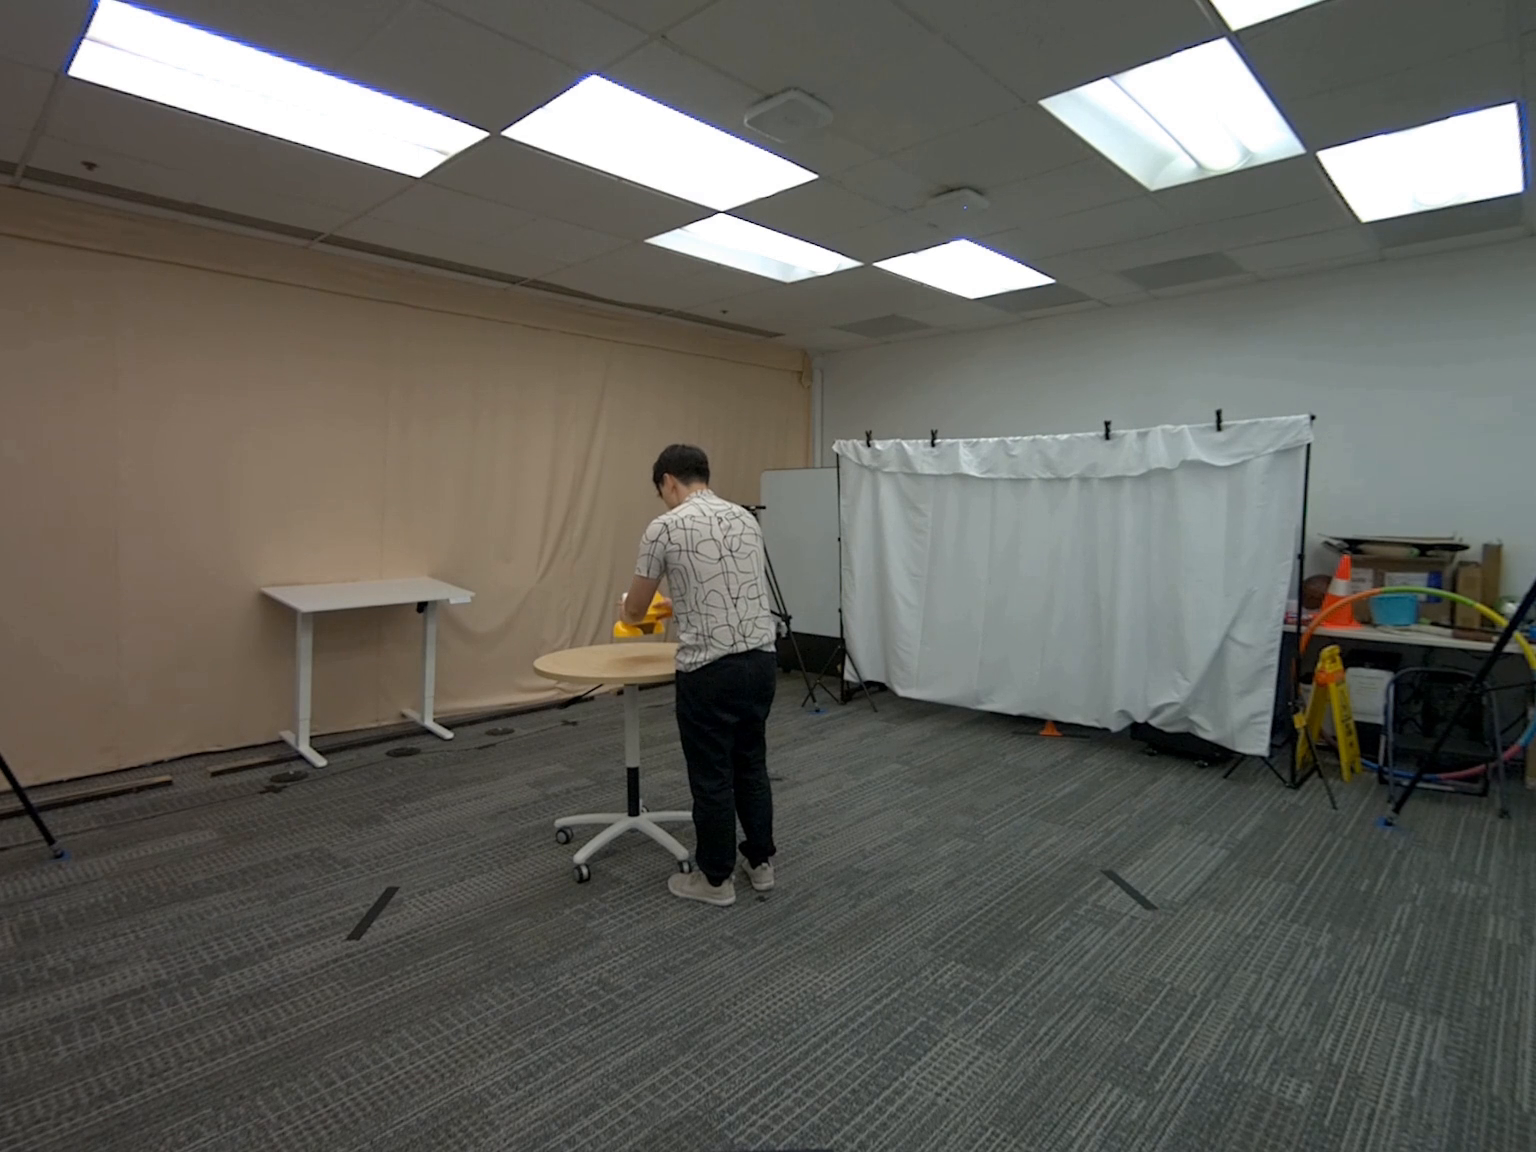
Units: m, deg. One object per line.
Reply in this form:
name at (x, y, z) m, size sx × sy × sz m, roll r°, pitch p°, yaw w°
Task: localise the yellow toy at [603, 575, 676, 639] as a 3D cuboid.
yellow toy at (-0.512, 0.114, 3.354) m, size 0.199 × 0.231 × 0.199 m, roll -4°, pitch 0°, yaw -38°
